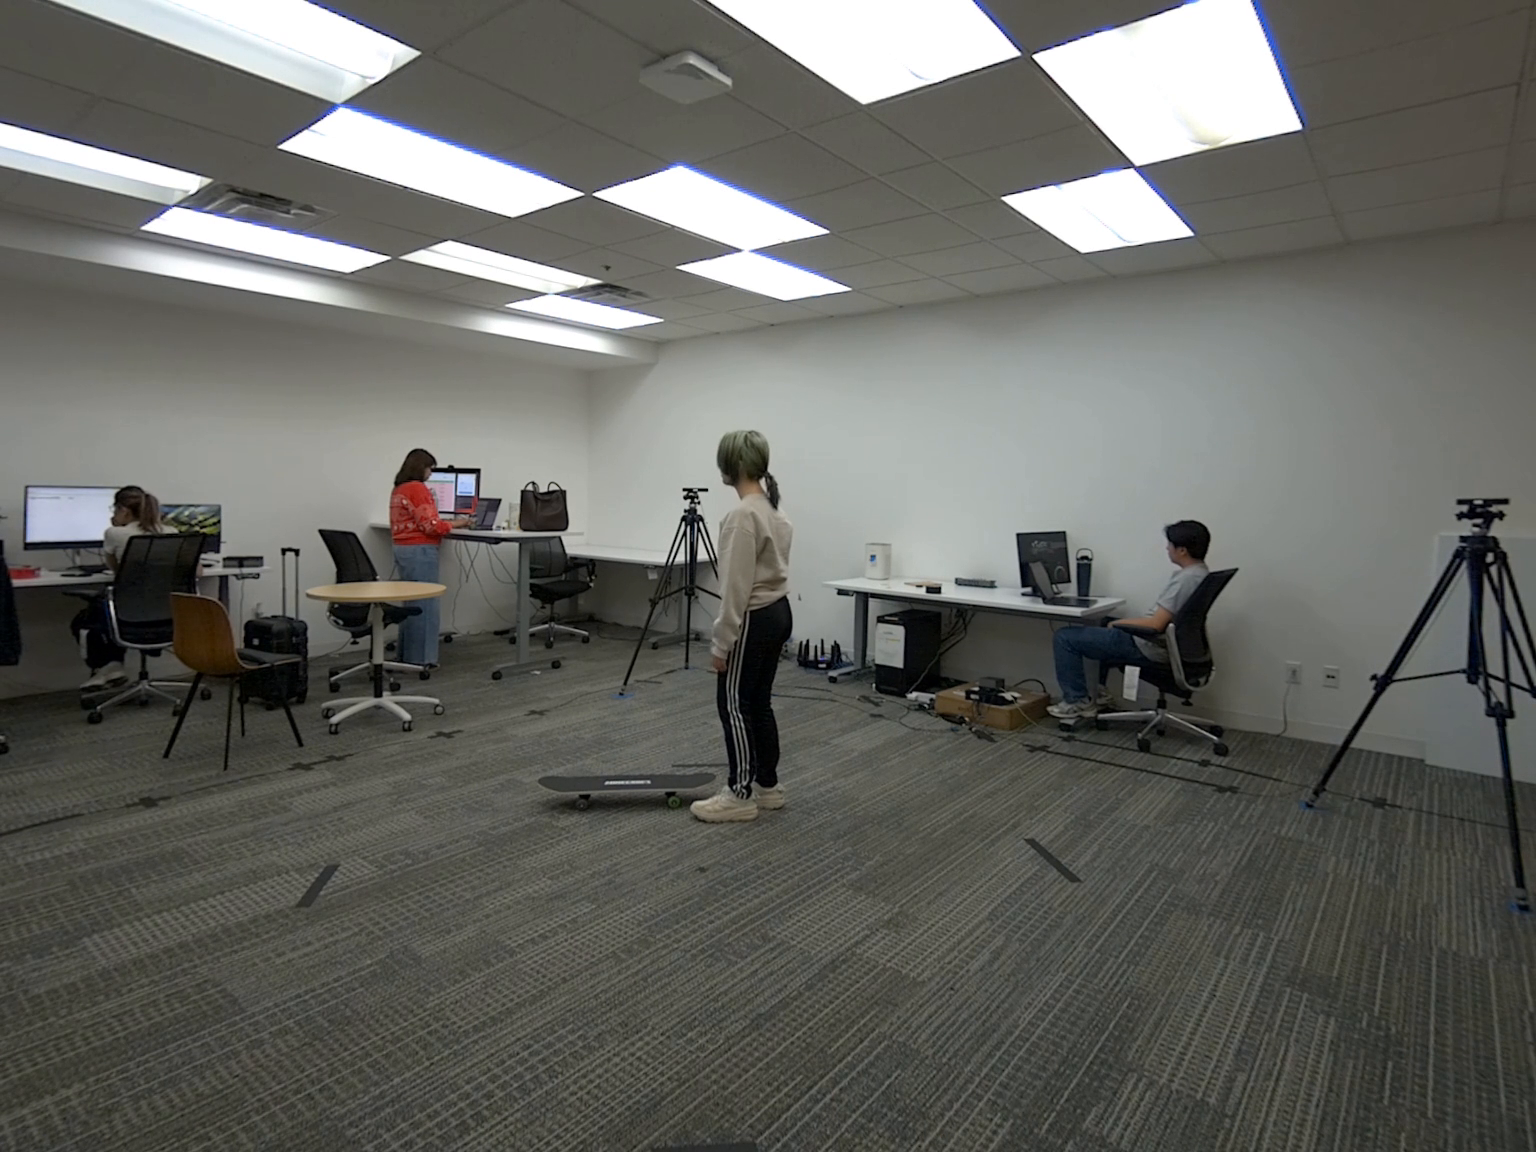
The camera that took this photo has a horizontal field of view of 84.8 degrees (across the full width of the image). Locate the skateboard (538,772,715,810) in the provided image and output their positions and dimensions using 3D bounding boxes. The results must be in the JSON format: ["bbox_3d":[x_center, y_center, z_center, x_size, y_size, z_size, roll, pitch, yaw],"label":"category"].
[{"bbox_3d":[-0.639,0.944,3.765,0.780,0.110,0.195,0,4,-7],"label":"skateboard"}]
